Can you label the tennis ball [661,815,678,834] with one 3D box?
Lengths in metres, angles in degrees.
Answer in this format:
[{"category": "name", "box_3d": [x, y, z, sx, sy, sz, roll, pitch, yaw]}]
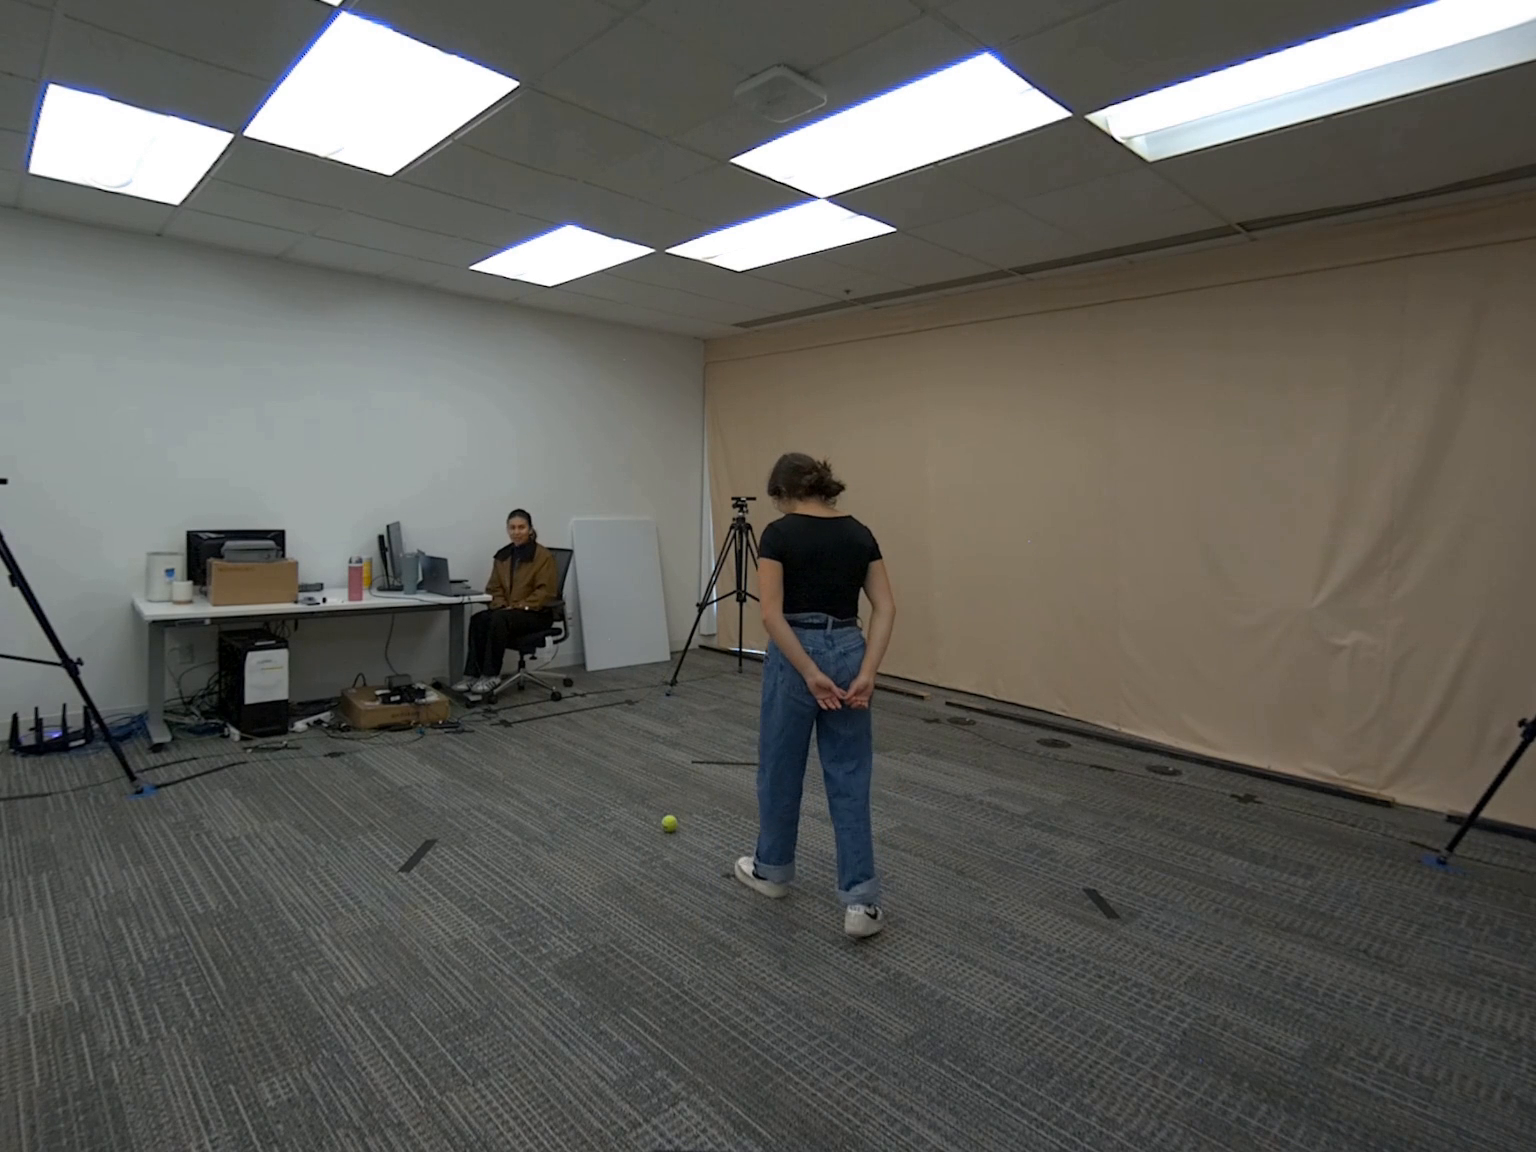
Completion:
[{"category": "tennis ball", "box_3d": [-0.423, 1.011, 3.504, 0.066, 0.066, 0.067, 1, 4, -1]}]
